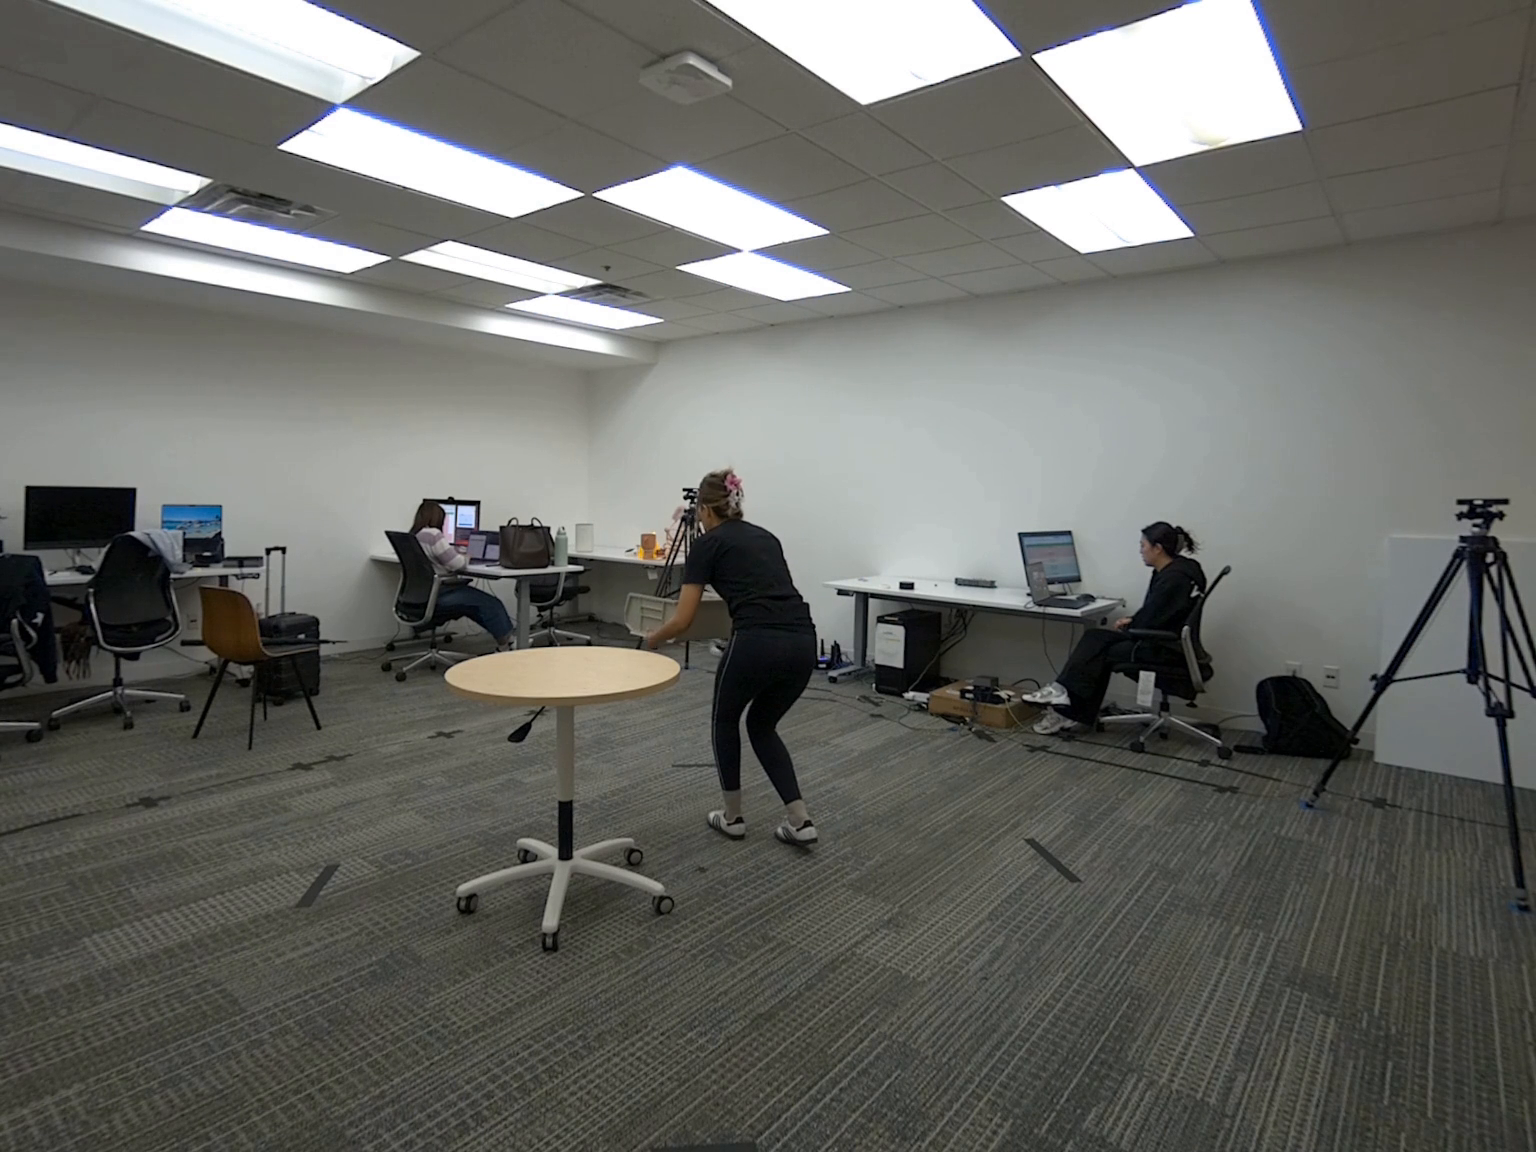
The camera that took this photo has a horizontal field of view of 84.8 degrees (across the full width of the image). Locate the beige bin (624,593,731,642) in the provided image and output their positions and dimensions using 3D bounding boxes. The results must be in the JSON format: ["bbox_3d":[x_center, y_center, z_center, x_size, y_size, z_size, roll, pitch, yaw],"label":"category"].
[{"bbox_3d":[-0.384,0.176,3.799,0.409,0.188,0.391,0,6,-42],"label":"beige bin"}]
